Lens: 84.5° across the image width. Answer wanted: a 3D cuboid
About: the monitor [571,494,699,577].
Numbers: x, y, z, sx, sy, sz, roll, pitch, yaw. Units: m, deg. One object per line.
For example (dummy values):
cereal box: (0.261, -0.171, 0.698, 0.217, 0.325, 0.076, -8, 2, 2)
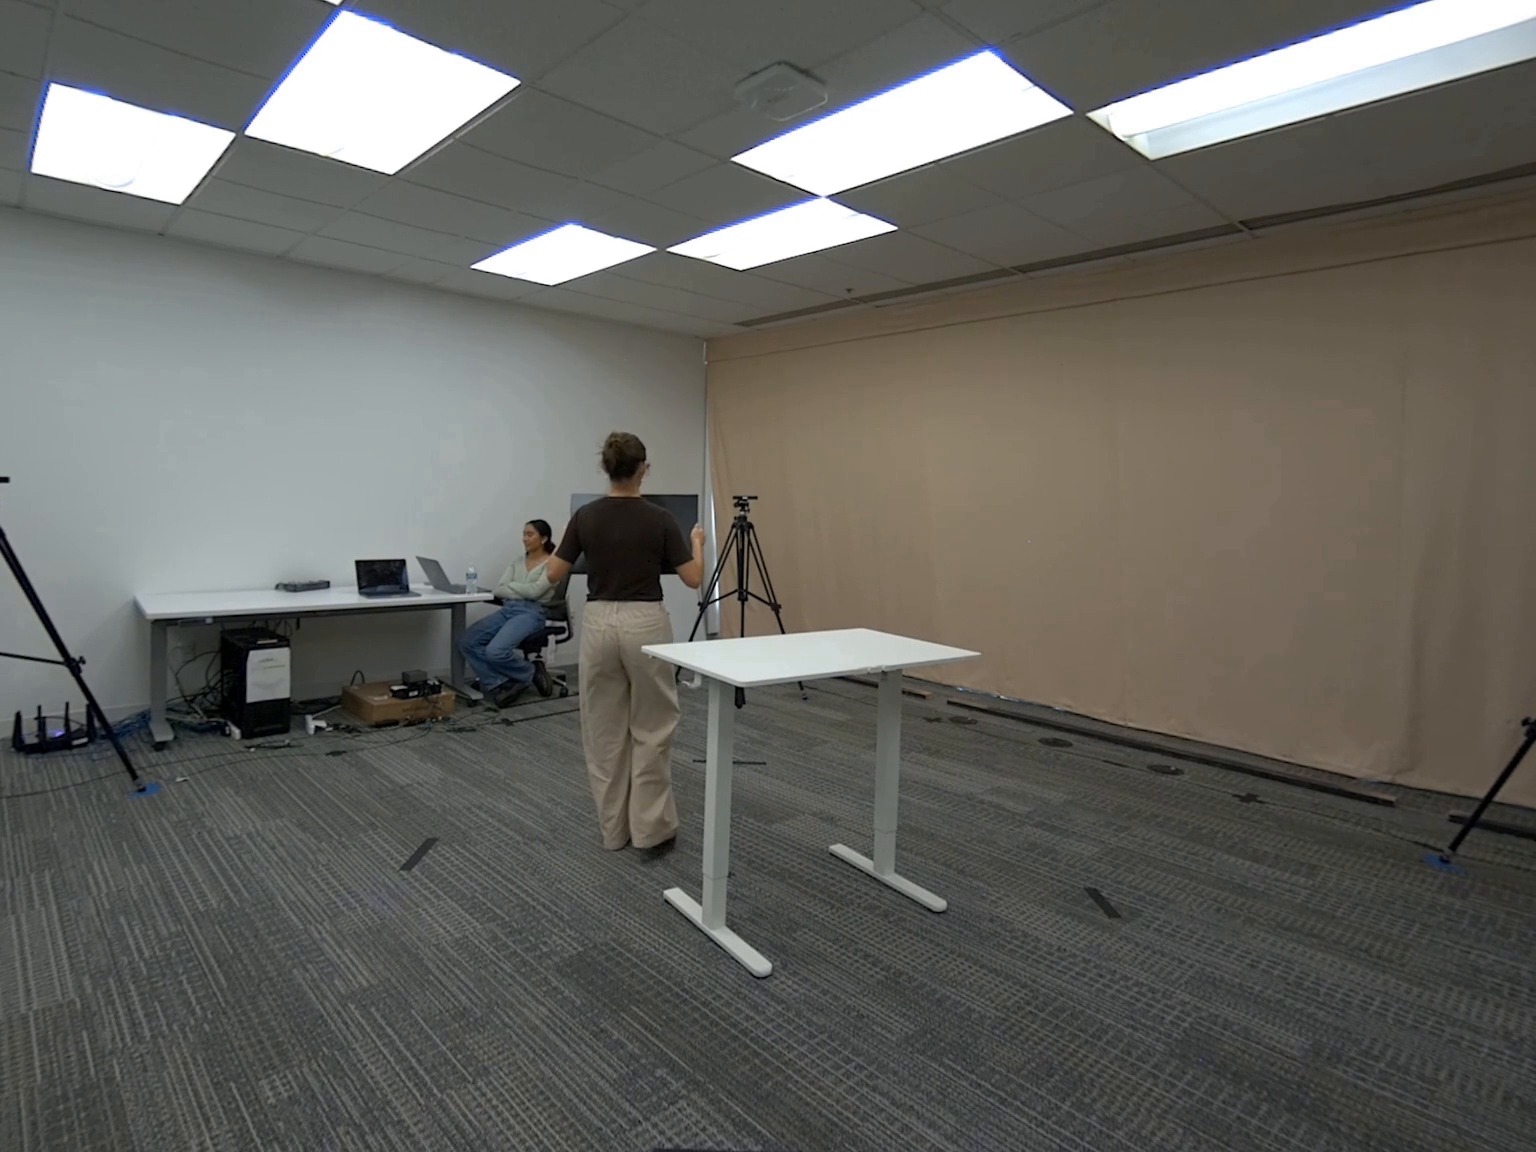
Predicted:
monitor: (-0.561, -0.077, 3.526, 0.537, 0.524, 0.187, 1, -3, -4)
